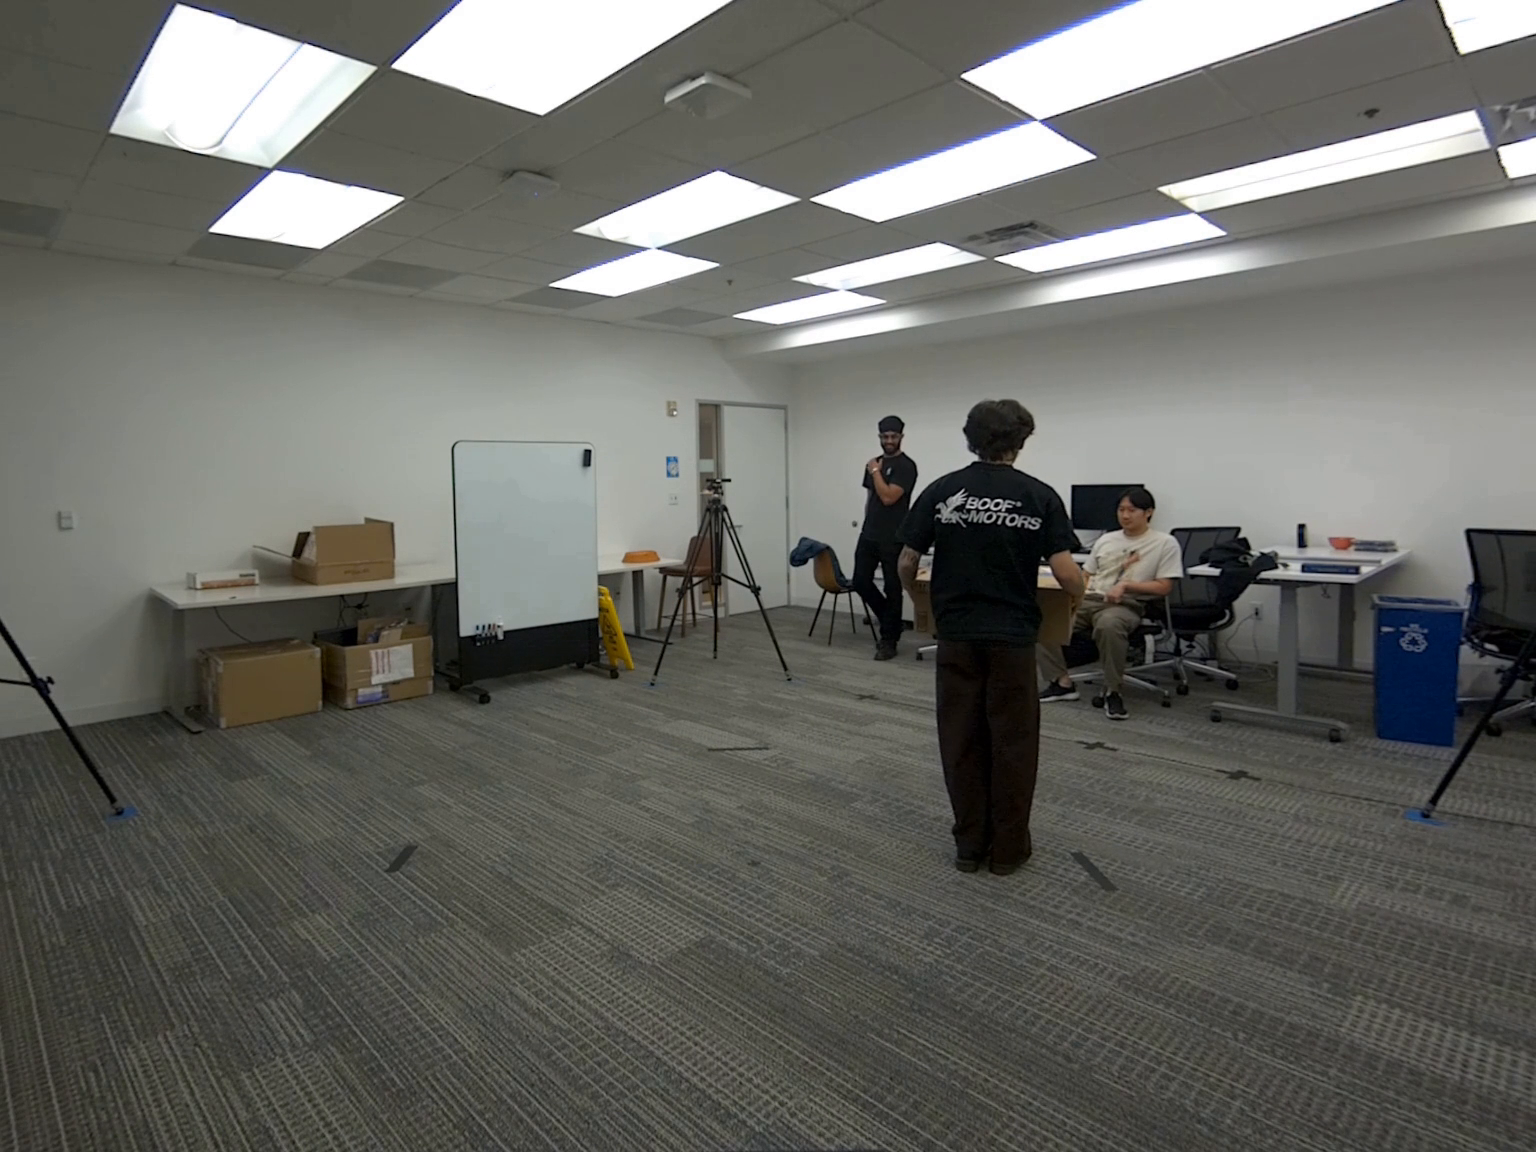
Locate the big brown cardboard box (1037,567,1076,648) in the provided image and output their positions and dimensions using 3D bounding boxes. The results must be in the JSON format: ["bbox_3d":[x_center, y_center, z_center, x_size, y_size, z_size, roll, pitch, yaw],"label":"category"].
[{"bbox_3d":[0.919,0.091,3.389,0.603,0.231,0.412,3,11,24],"label":"big brown cardboard box"}]
